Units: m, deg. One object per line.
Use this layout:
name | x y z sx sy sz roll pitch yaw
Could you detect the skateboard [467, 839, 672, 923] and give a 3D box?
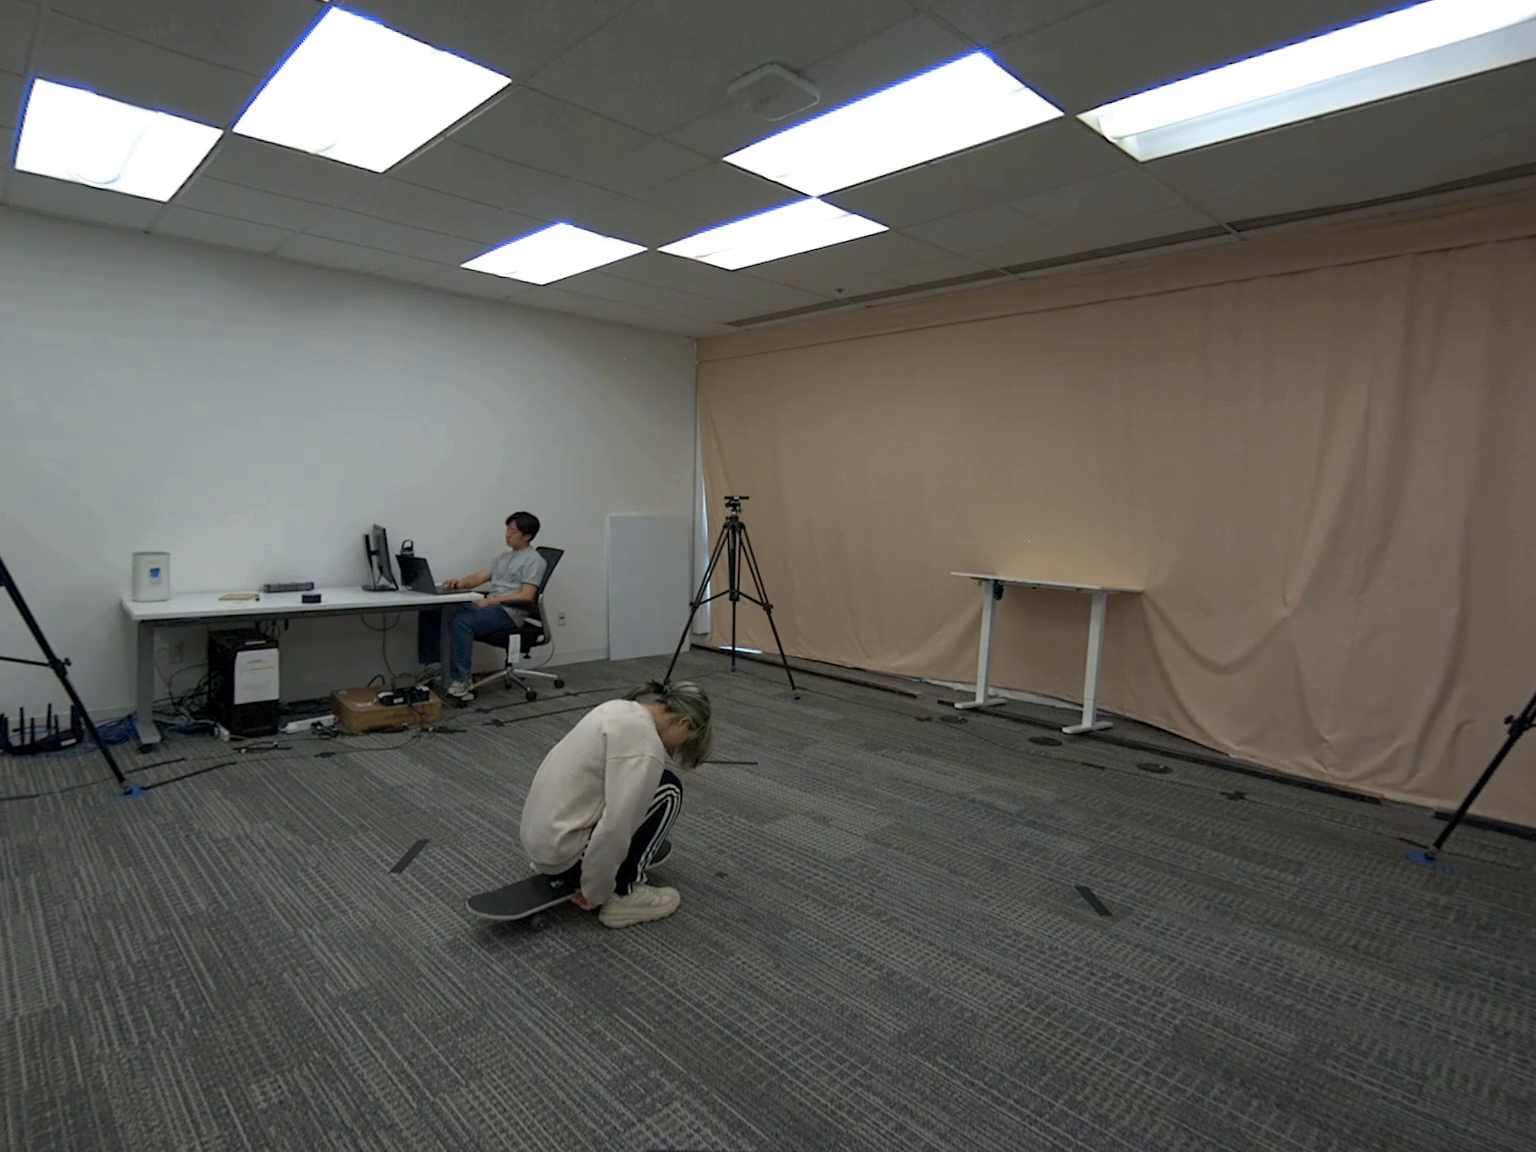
skateboard | -0.655 1.058 2.873 0.198 0.110 0.768 7 8 44
